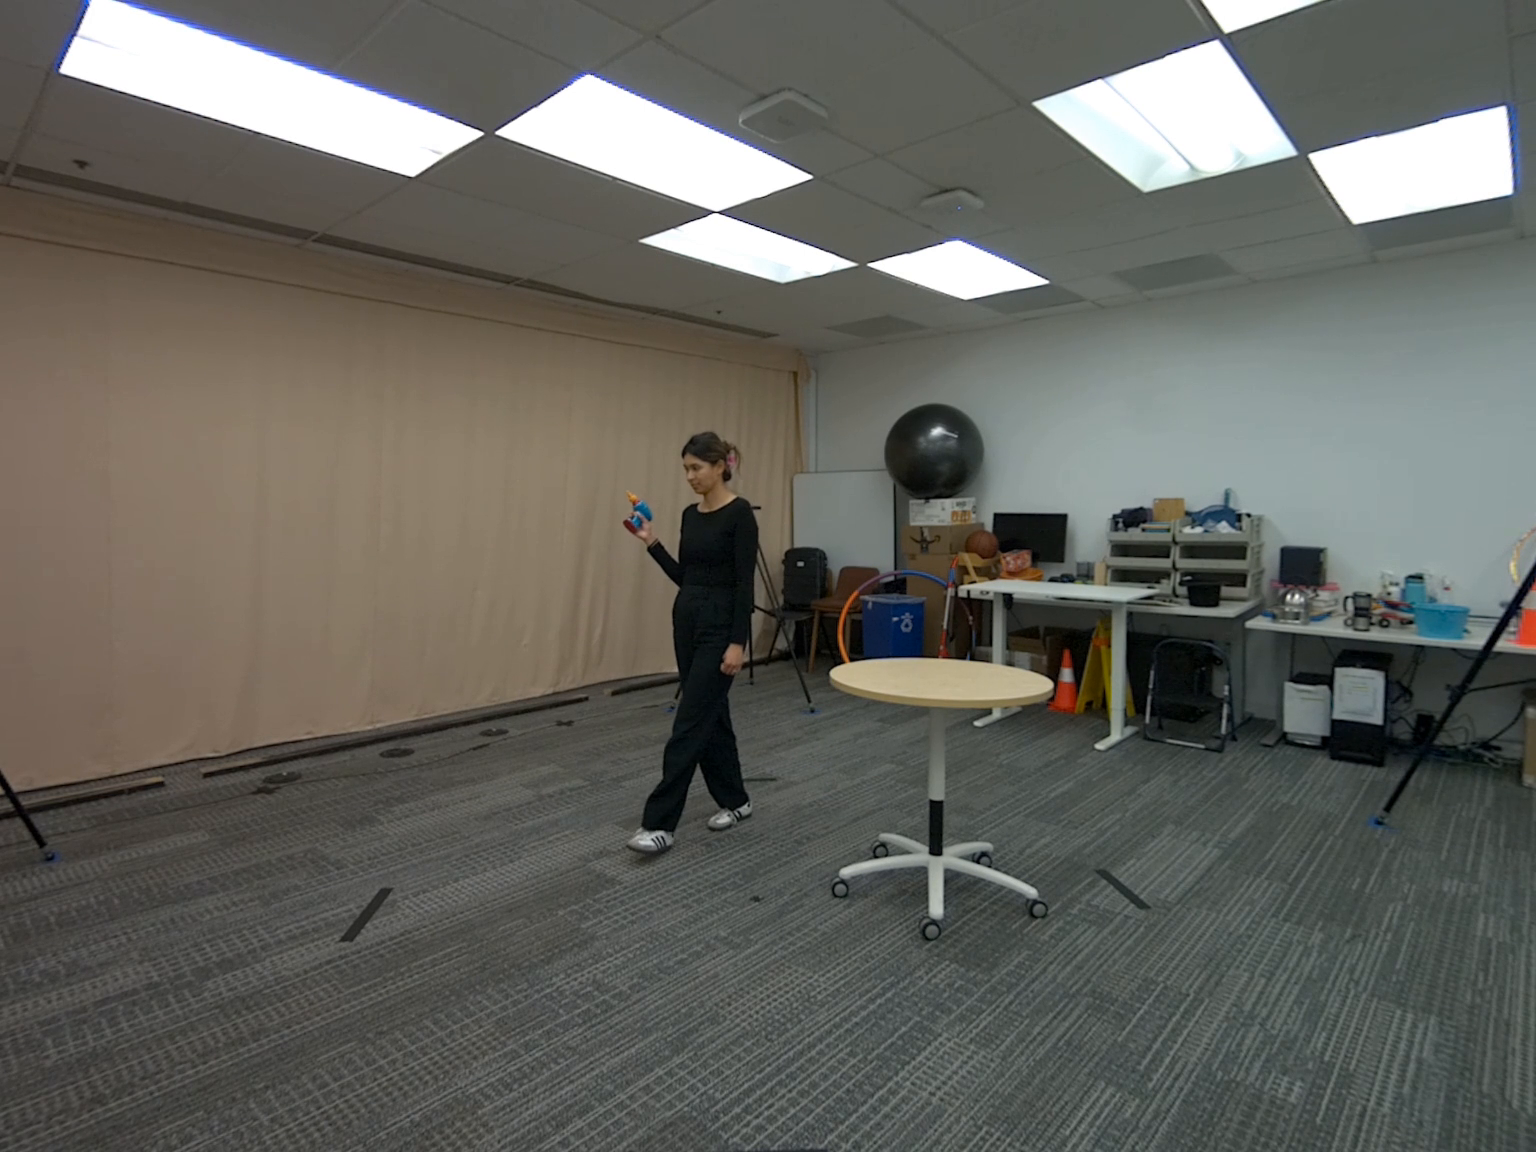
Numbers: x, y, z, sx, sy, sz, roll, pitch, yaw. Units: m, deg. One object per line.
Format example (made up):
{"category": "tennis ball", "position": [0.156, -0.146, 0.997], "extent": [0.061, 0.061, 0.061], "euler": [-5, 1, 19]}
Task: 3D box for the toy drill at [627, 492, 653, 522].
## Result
{"category": "toy drill", "position": [-0.589, -0.286, 3.696], "extent": [0.062, 0.167, 0.145], "euler": [-23, 20, 49]}
